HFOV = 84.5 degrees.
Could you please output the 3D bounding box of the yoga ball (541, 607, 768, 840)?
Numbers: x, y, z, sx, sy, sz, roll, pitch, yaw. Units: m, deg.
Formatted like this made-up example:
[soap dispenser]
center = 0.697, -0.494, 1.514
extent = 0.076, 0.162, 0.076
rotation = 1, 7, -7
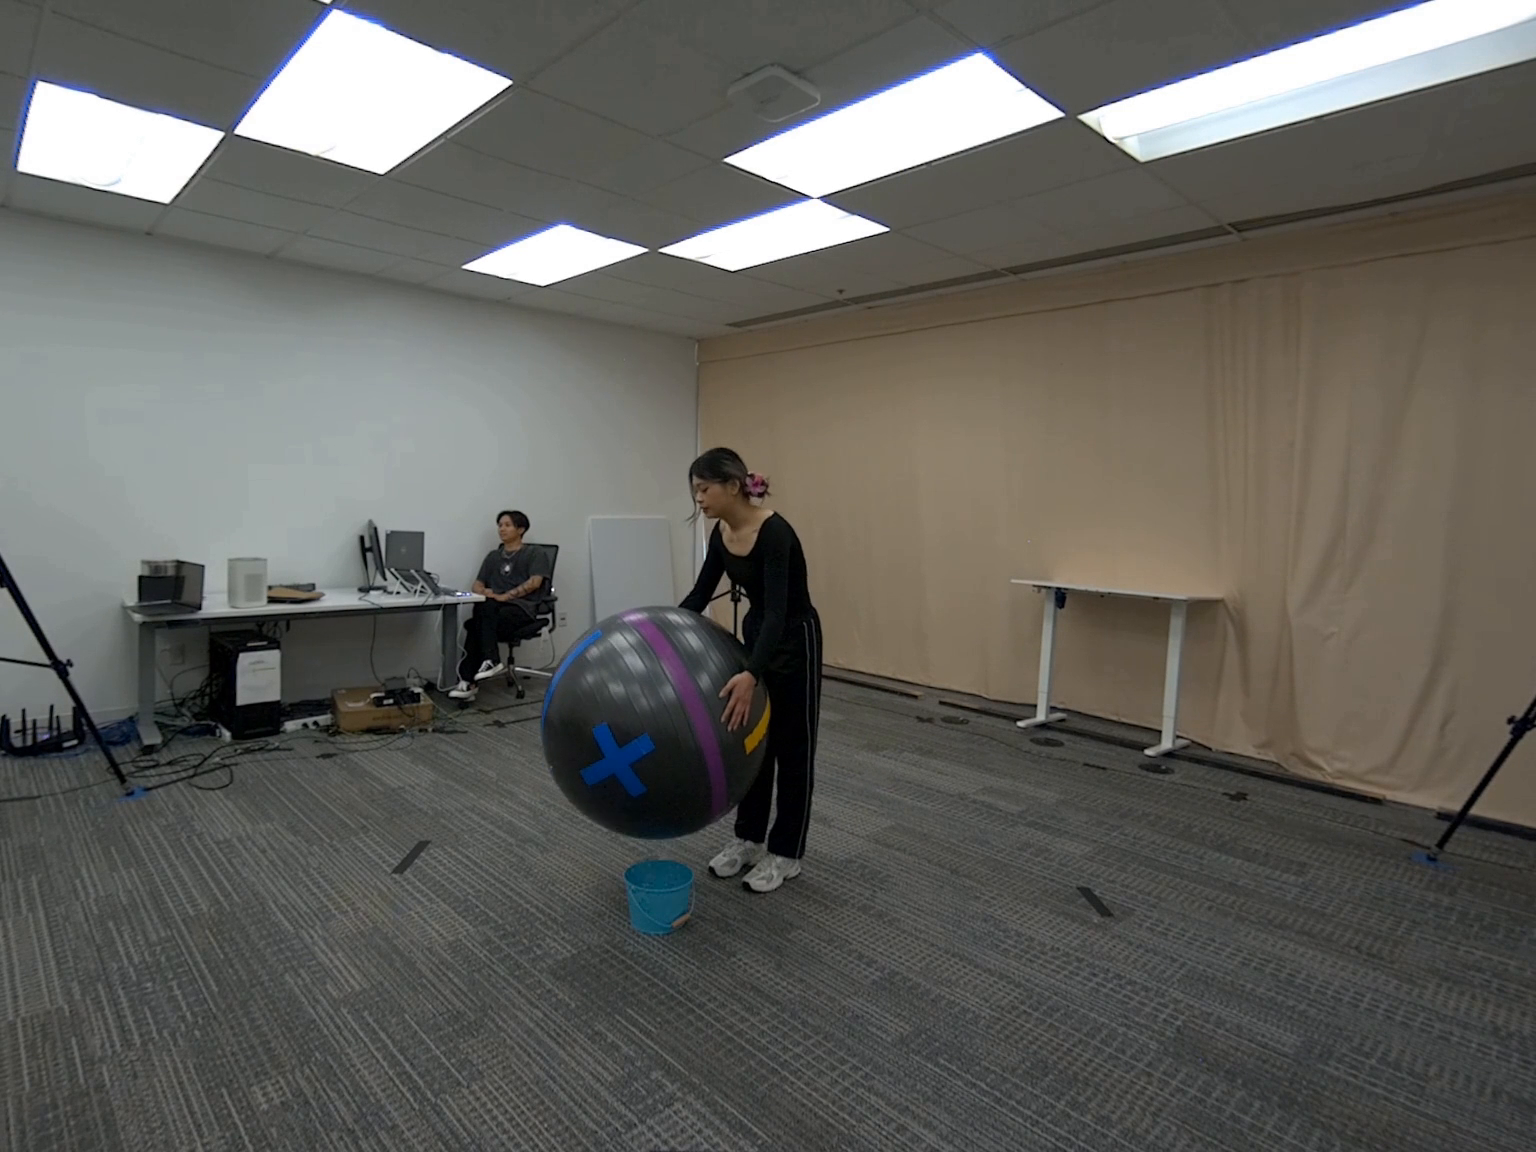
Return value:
[yoga ball]
center = -0.378, 0.476, 2.799
extent = 0.757, 0.756, 0.761
rotation = 1, 4, -1
